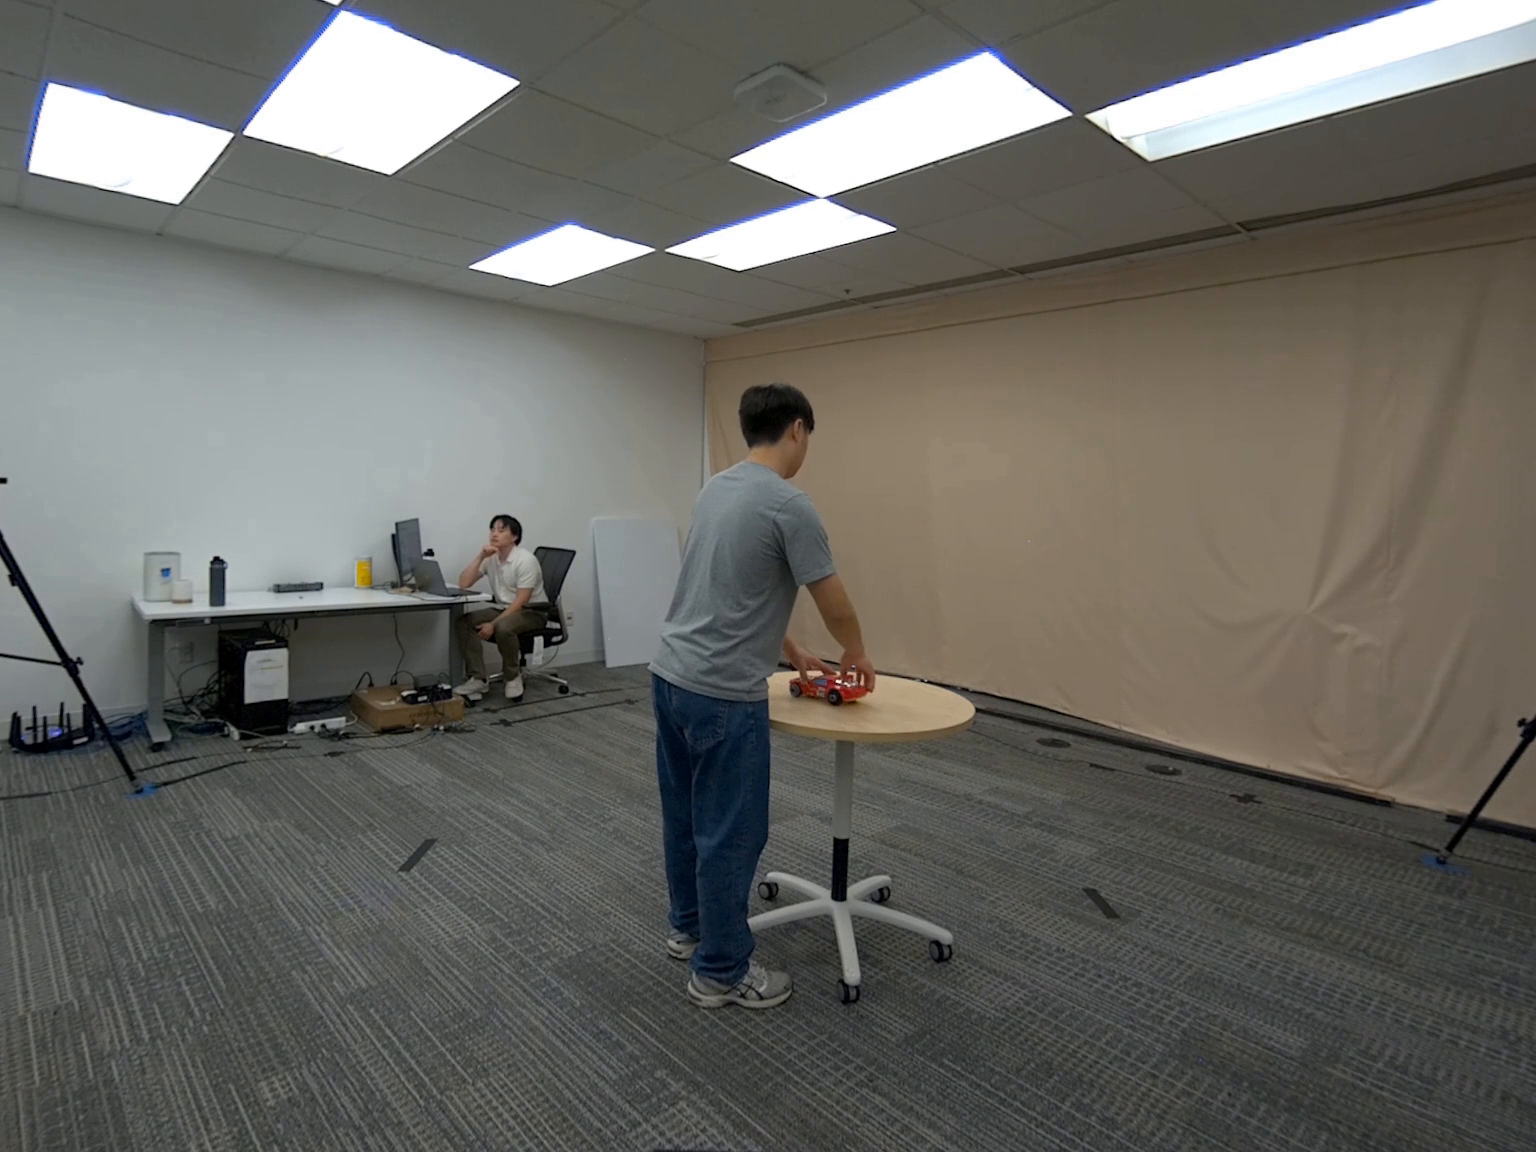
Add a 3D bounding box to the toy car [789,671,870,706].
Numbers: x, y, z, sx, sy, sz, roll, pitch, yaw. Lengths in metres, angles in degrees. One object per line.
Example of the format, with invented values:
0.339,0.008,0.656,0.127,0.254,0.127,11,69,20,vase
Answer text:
0.190,0.353,2.564,0.260,0.083,0.127,-7,-2,40,toy car
